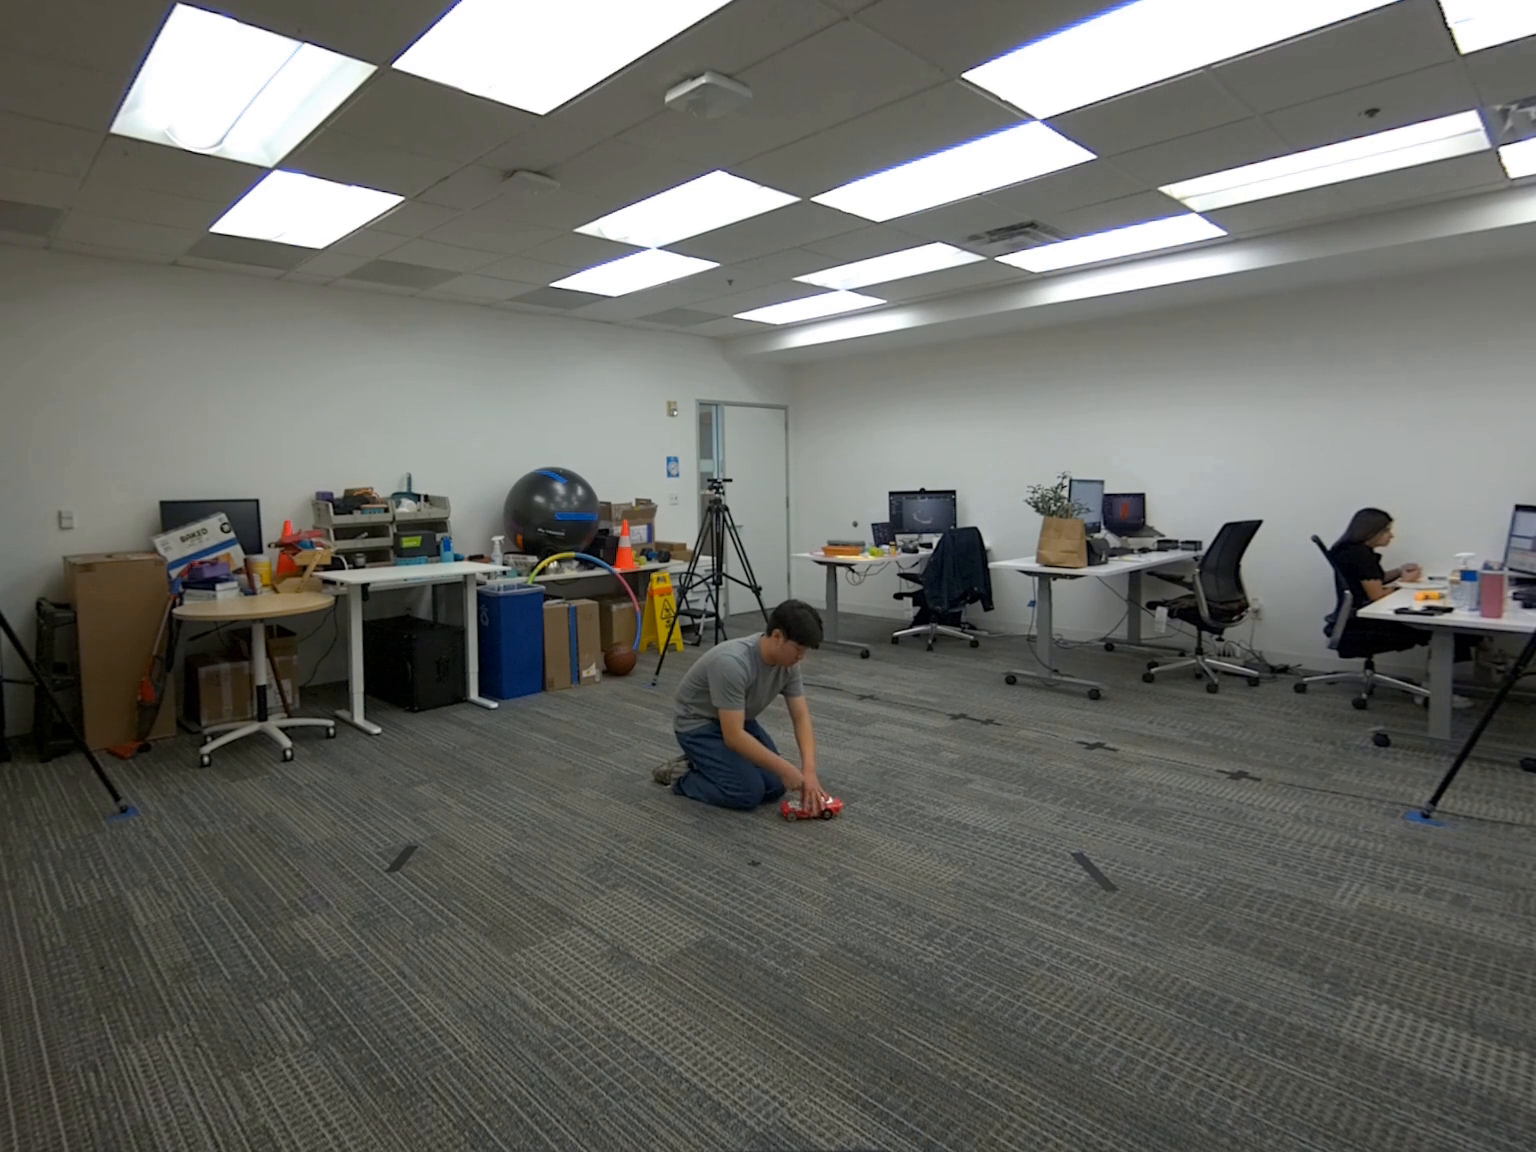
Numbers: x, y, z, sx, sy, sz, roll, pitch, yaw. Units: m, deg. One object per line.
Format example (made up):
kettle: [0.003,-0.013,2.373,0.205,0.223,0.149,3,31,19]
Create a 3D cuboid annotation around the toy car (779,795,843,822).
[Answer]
toy car: [0.192,0.965,3.536,0.253,0.082,0.132,-14,10,-8]
